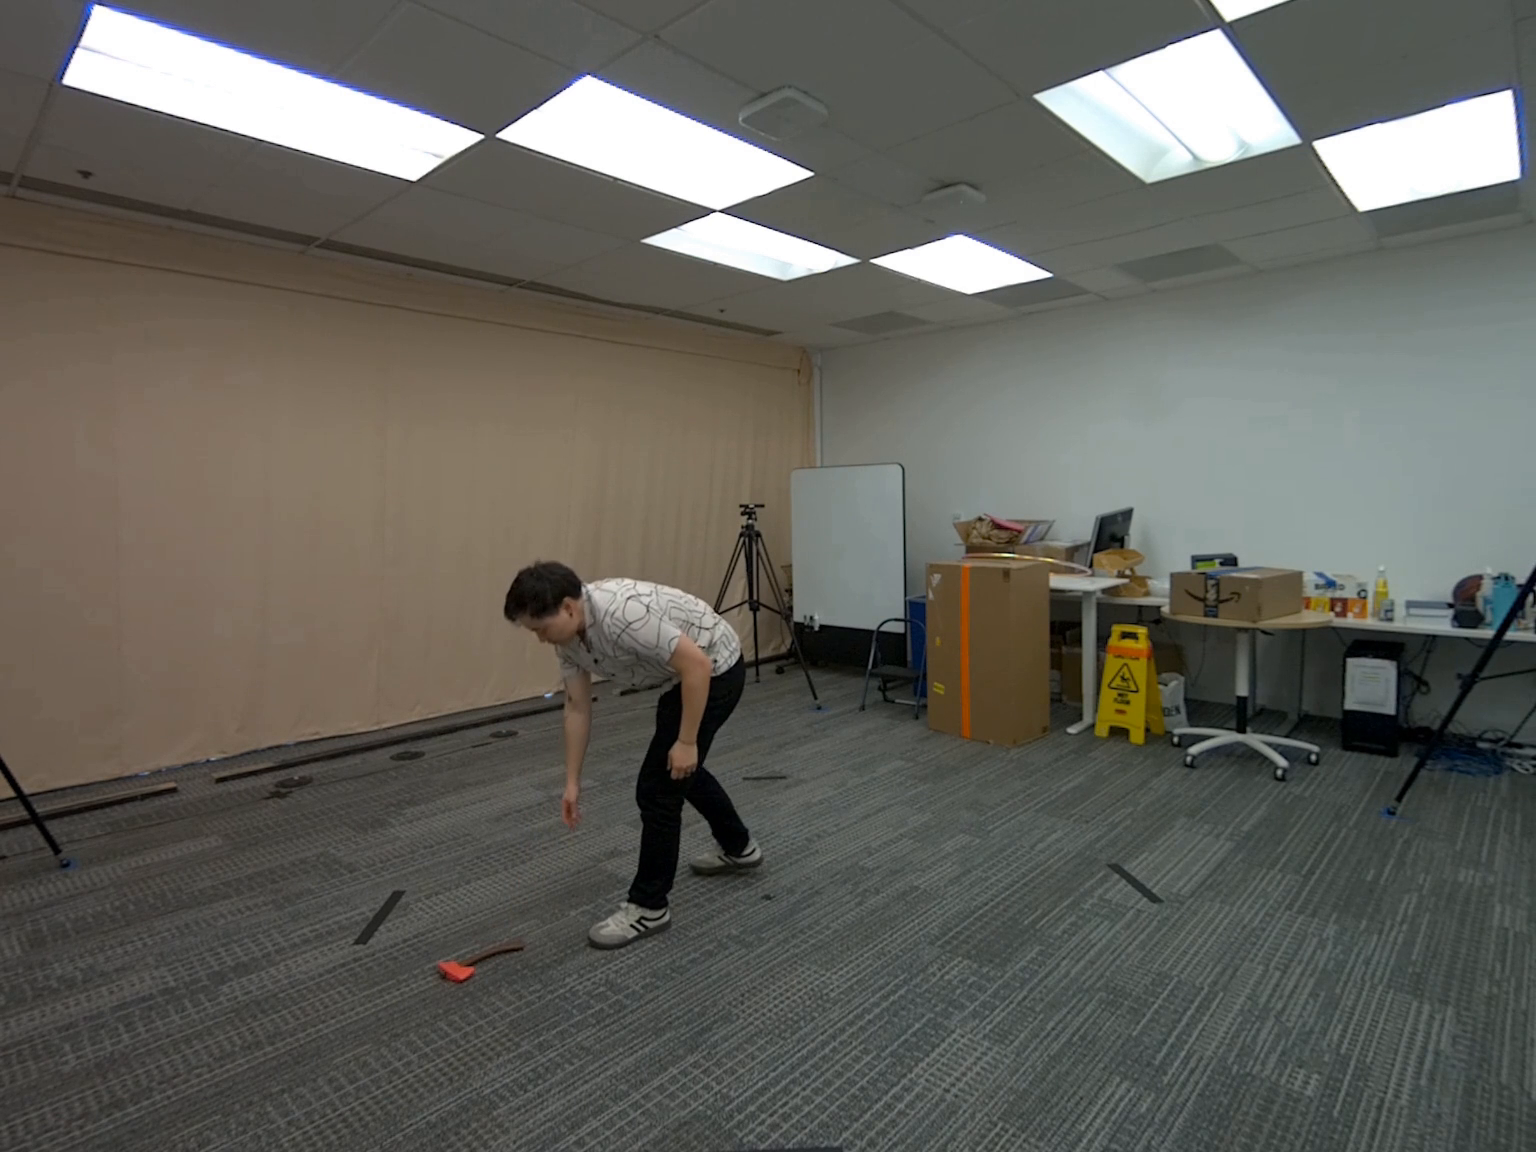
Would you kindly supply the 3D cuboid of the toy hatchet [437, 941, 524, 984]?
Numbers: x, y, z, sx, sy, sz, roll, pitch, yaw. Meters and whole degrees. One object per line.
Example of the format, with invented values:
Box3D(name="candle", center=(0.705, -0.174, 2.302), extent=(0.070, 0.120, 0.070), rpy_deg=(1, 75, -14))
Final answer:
Box3D(name="toy hatchet", center=(-0.869, 1.182, 2.570), extent=(0.263, 0.029, 0.135), rpy_deg=(-2, 4, -31))
